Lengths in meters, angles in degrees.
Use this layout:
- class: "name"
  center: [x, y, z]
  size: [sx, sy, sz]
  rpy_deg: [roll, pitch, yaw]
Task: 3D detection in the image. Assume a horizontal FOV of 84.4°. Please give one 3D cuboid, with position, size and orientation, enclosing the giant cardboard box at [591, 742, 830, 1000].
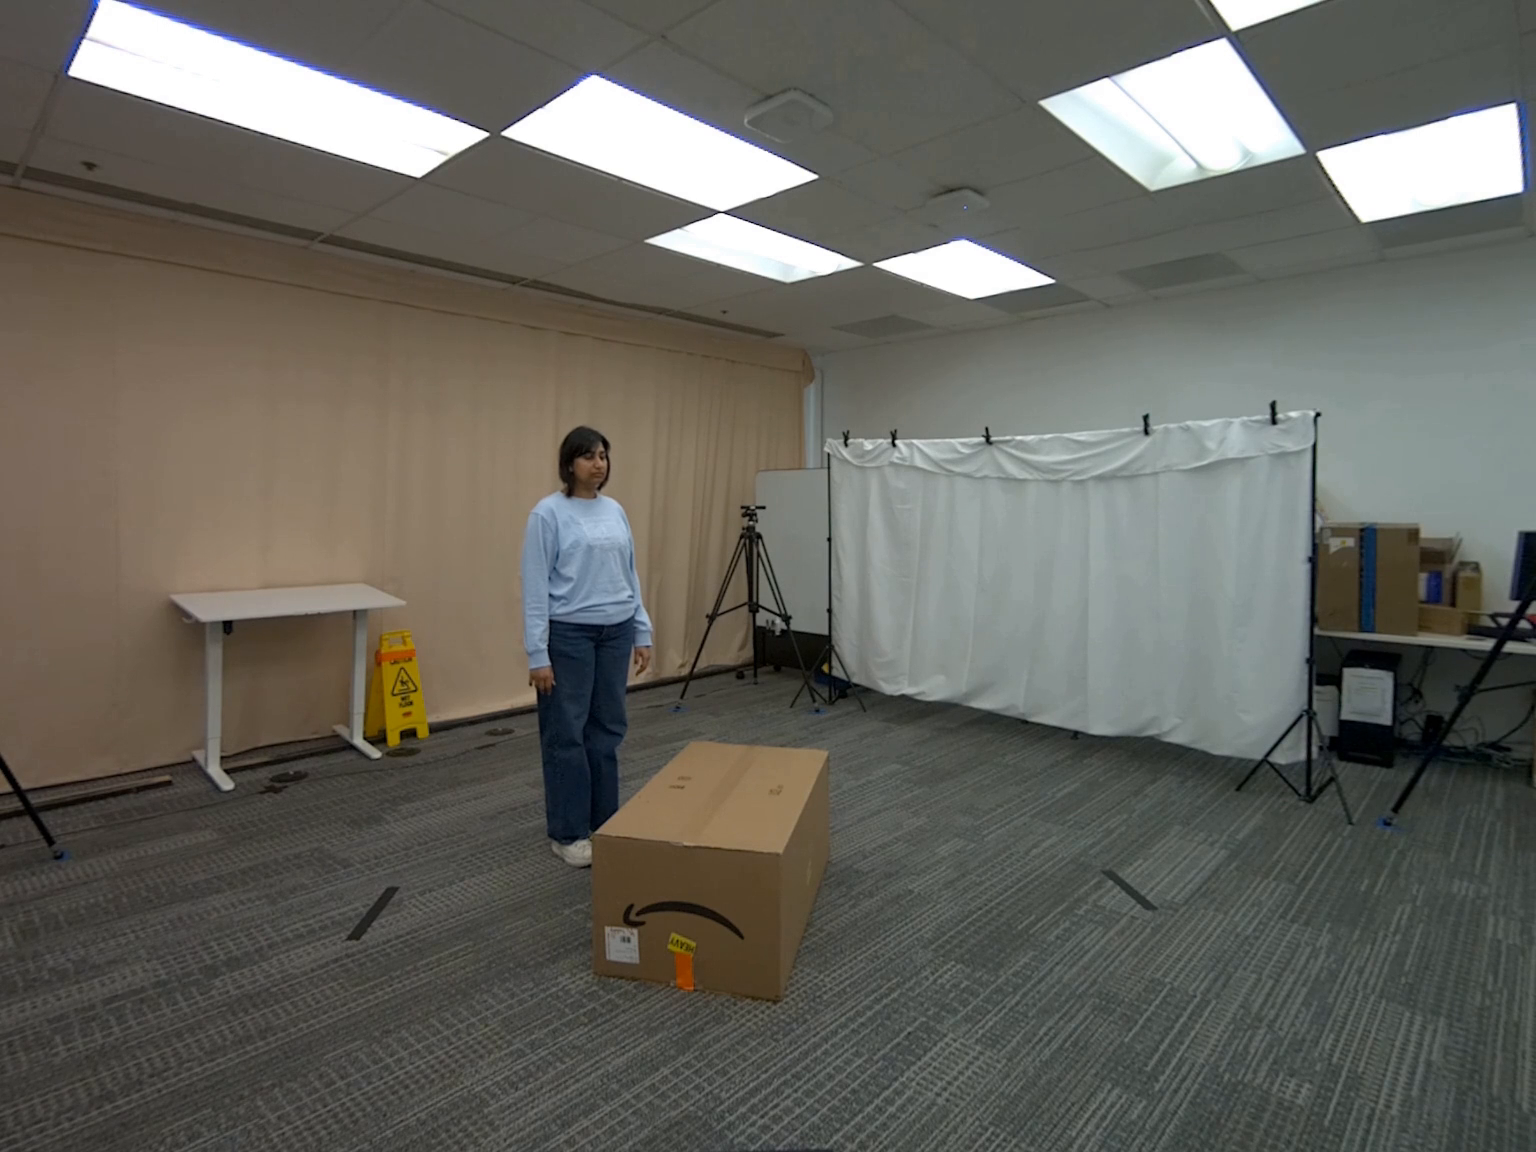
- class: "giant cardboard box"
  center: [-0.134, 0.933, 2.905]
  size: [0.586, 0.425, 1.013]
  rpy_deg: [0, 5, 13]
